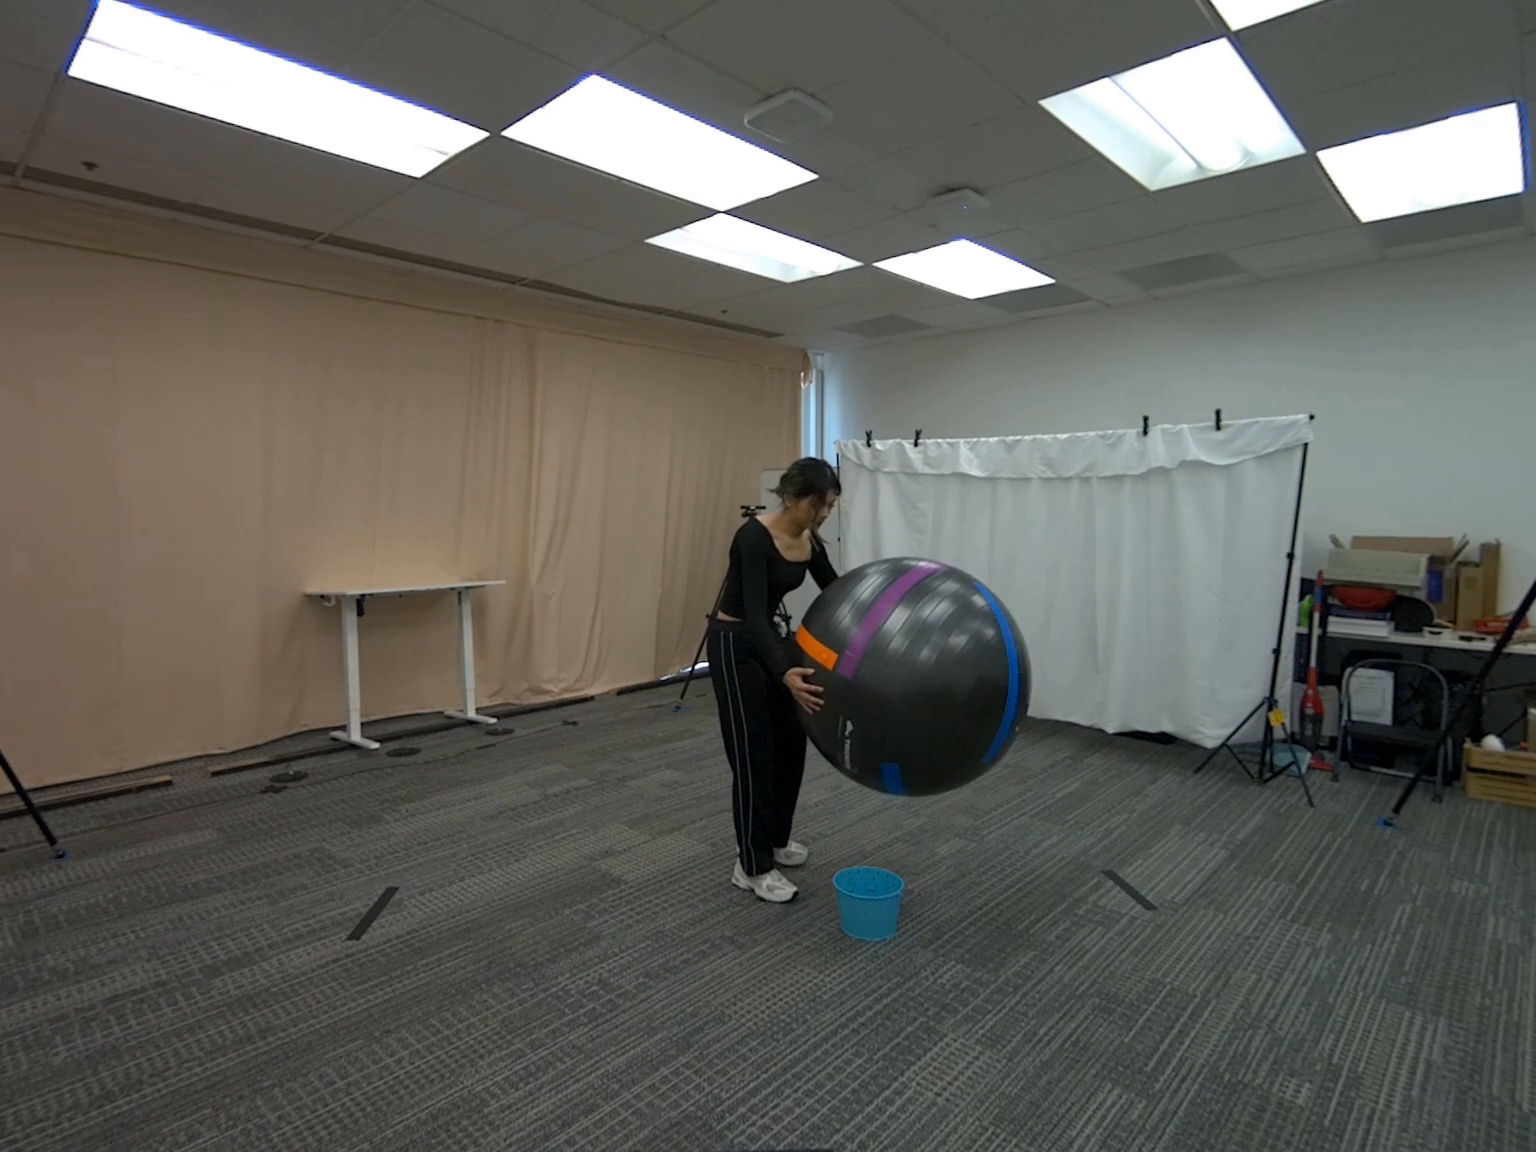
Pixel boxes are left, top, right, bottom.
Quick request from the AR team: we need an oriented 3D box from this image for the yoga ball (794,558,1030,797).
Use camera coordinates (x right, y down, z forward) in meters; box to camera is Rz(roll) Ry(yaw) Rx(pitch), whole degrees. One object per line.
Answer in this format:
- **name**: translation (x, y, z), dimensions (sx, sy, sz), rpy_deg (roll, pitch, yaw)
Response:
- **yoga ball**: translation (0.459, 0.328, 2.717), dimensions (0.757, 0.756, 0.760), rpy_deg (0, 4, -2)
